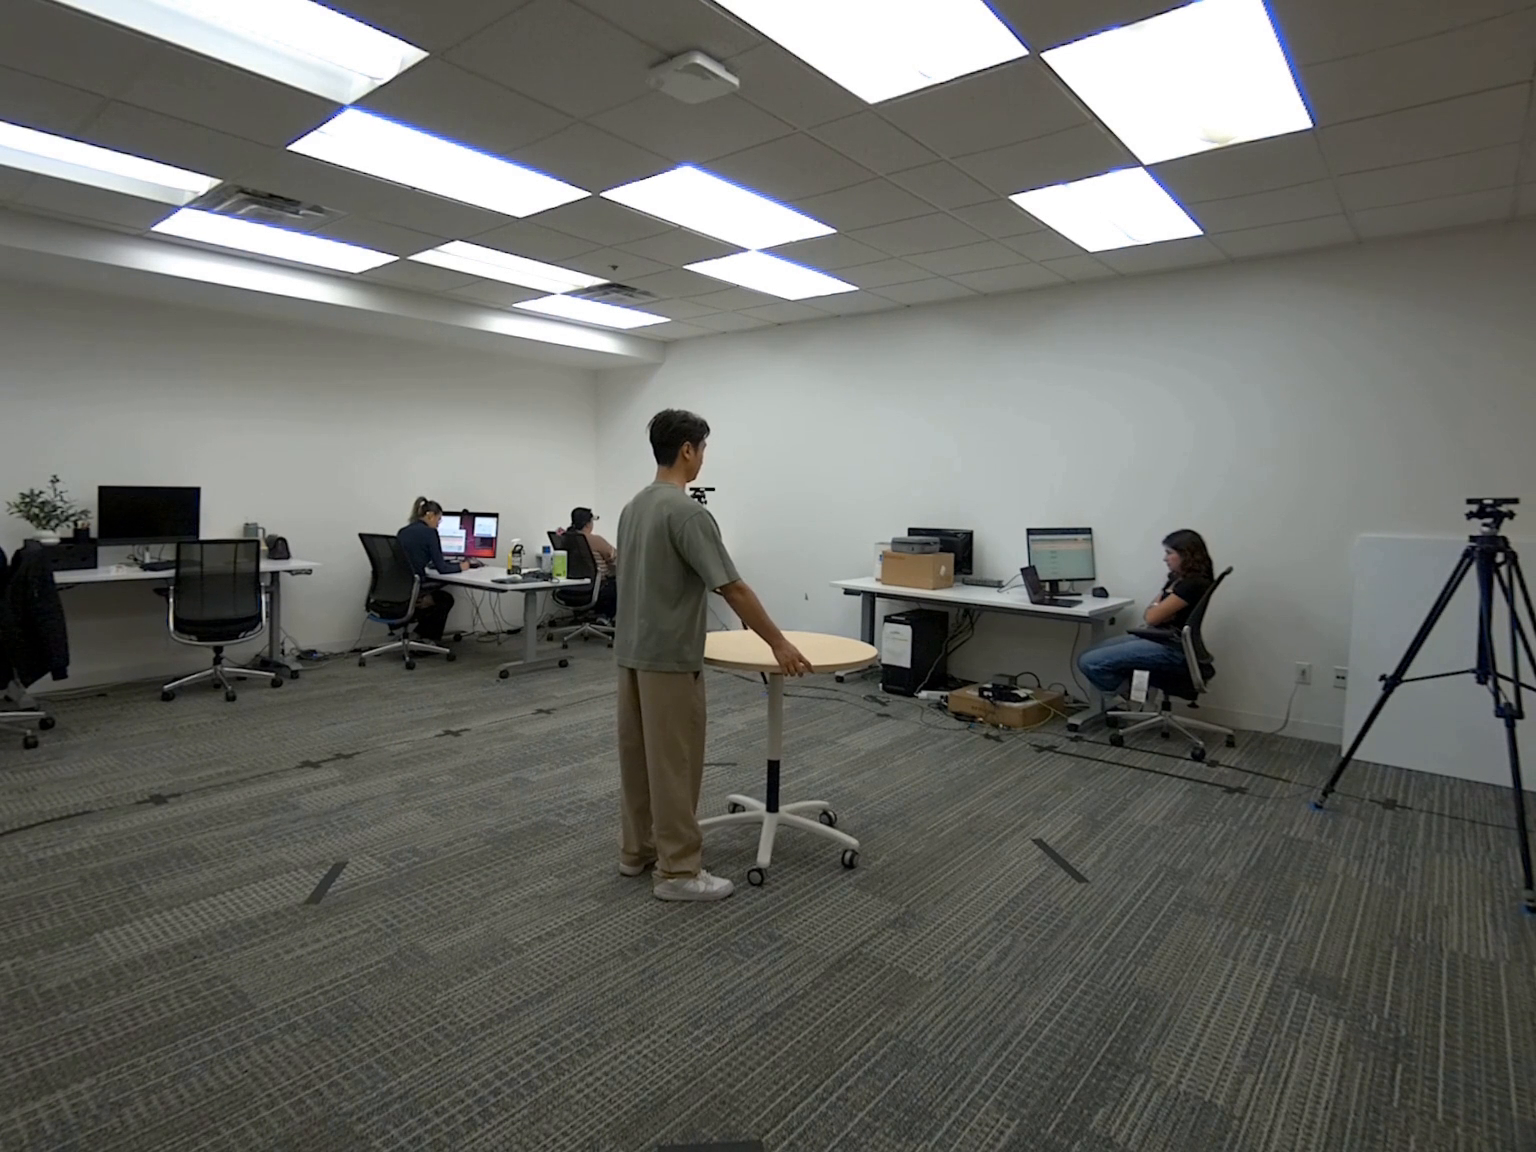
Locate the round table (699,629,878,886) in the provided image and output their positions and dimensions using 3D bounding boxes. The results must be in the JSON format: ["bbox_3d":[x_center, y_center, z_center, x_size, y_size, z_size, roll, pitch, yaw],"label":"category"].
[{"bbox_3d":[0.009,0.656,3.292,0.784,0.784,0.789,1,4,-2],"label":"round table"}]
